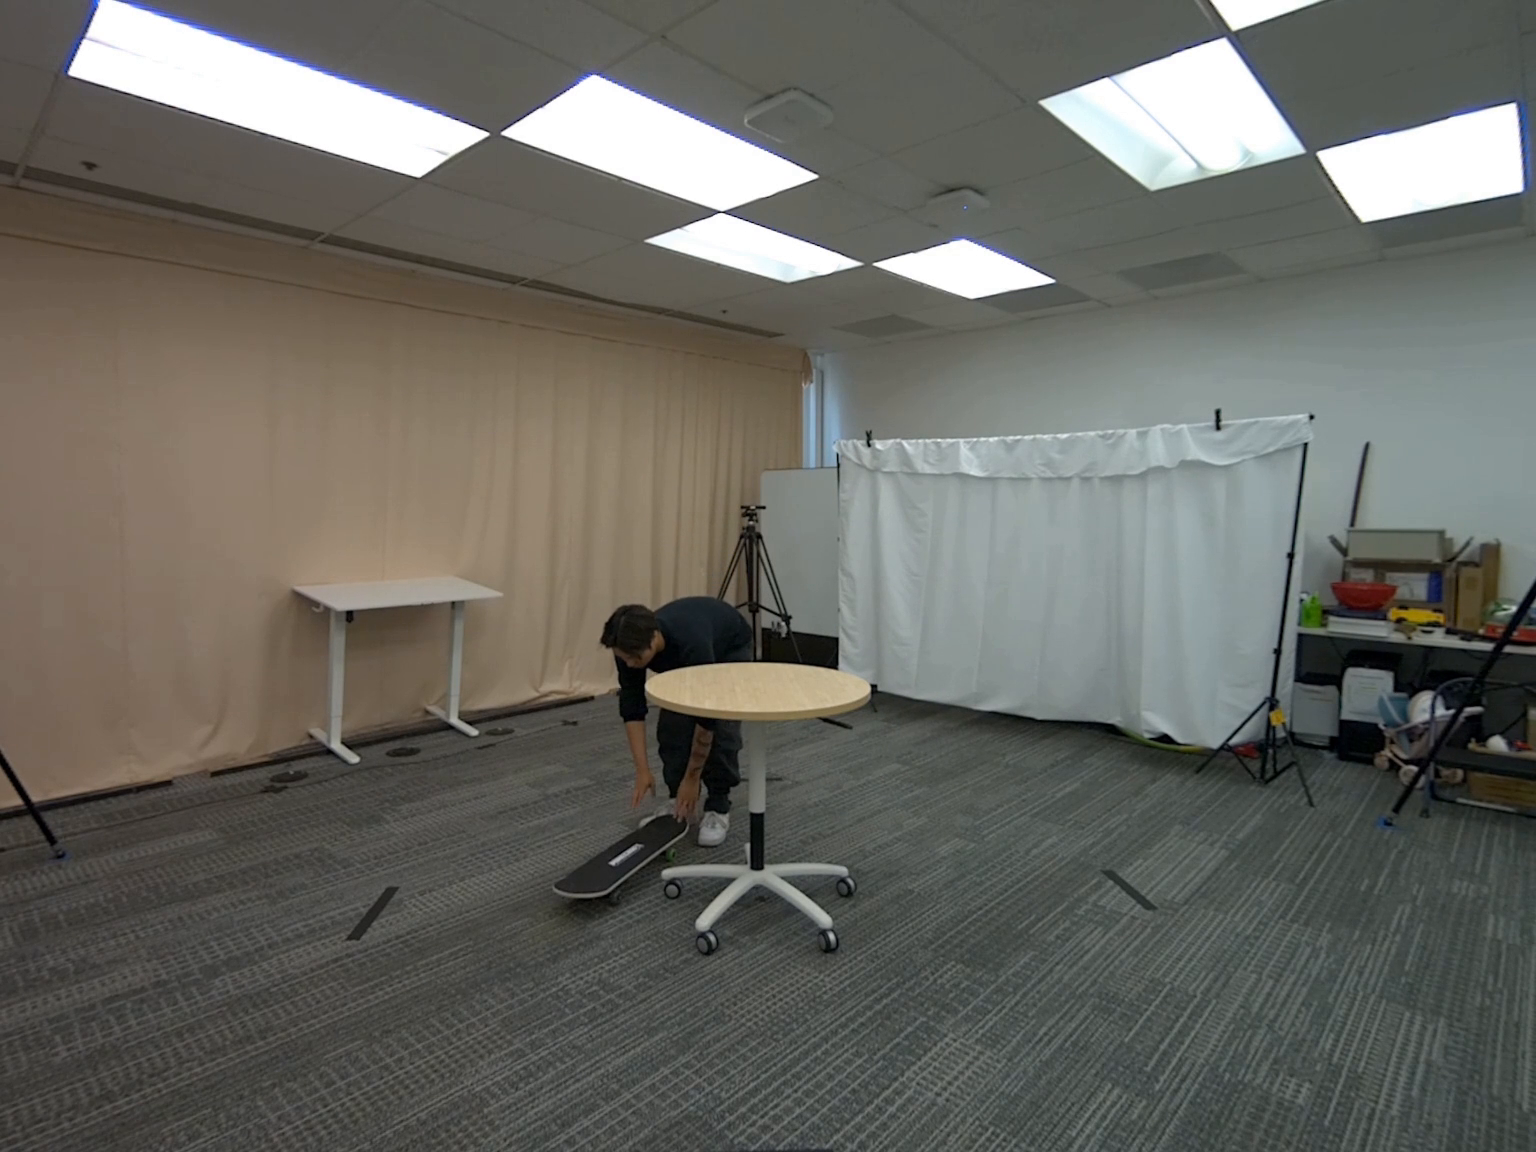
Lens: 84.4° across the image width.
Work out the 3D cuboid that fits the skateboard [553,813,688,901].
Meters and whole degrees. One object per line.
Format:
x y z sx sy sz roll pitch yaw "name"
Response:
-0.538 1.073 3.162 0.198 0.110 0.768 2 5 23 "skateboard"
